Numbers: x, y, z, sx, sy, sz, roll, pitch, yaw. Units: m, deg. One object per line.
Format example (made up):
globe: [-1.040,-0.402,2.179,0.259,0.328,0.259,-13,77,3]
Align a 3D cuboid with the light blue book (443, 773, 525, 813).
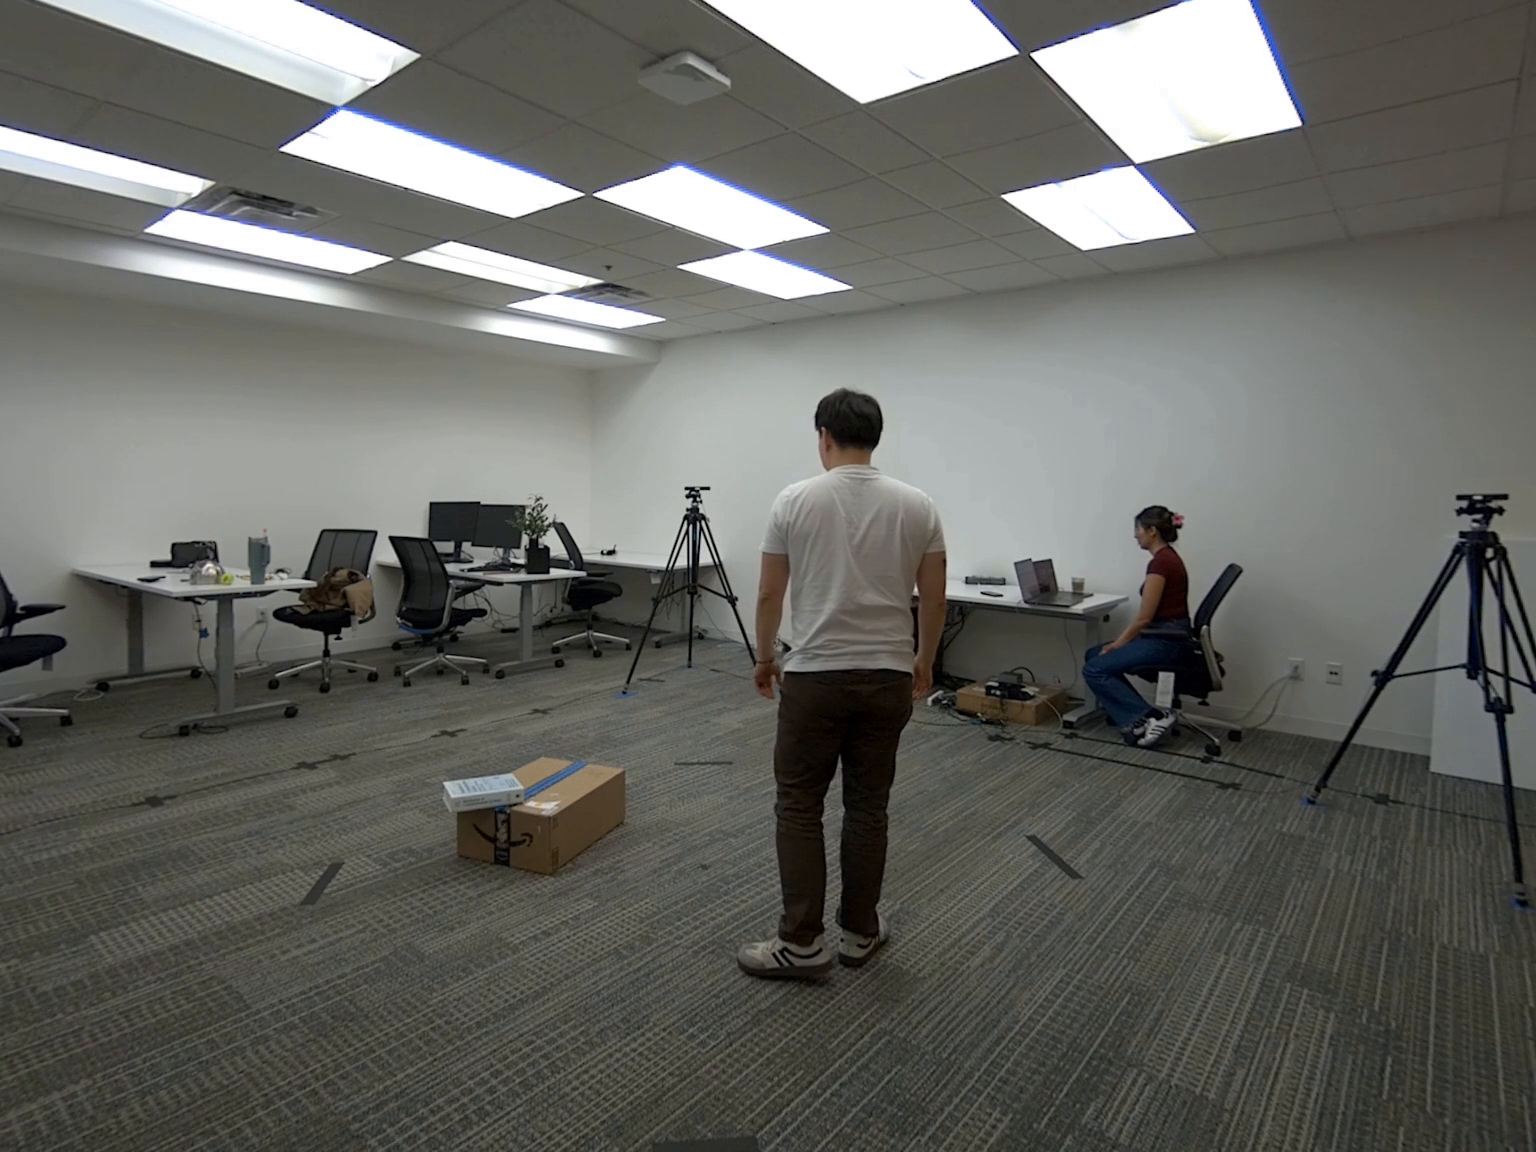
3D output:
light blue book: [-1.071,0.803,3.163,0.254,0.059,0.197,-2,4,-28]
